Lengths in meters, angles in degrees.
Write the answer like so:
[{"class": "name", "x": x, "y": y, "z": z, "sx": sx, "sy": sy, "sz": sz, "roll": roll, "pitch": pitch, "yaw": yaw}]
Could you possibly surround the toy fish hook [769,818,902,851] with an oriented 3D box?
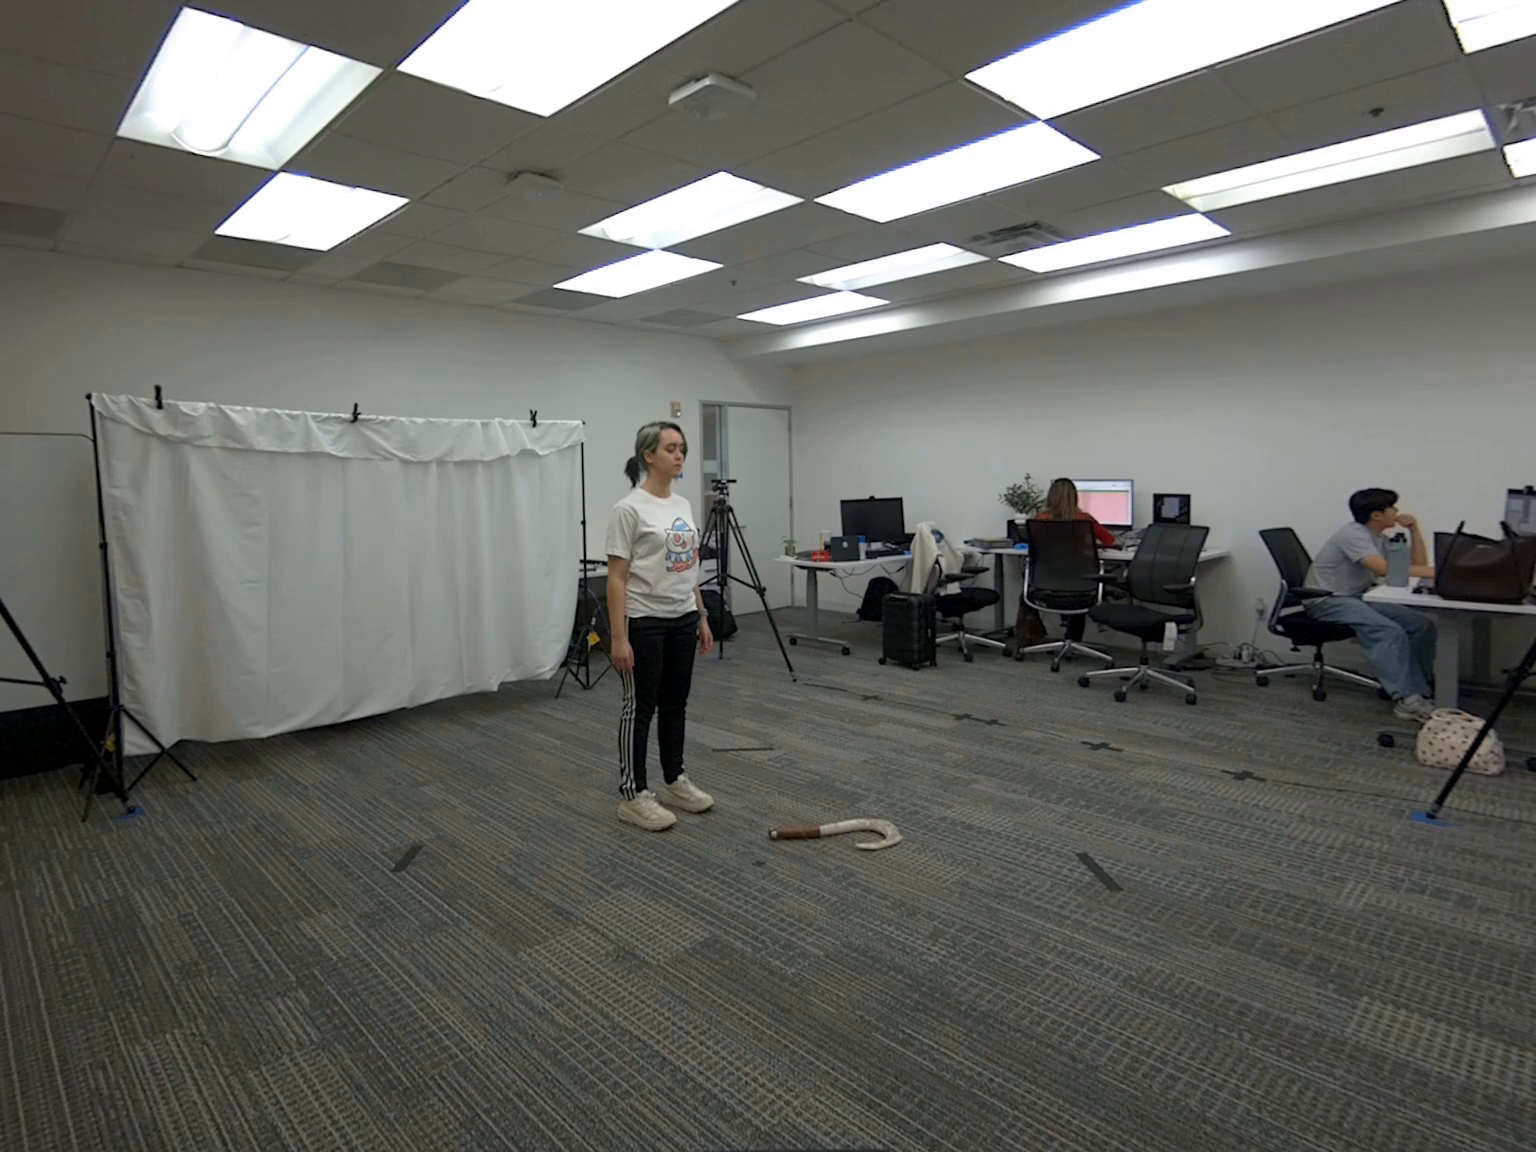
[{"class": "toy fish hook", "x": 0.262, "y": 0.998, "z": 3.288, "sx": 0.504, "sy": 0.048, "sz": 0.227, "roll": -3, "pitch": 5, "yaw": -6}]
